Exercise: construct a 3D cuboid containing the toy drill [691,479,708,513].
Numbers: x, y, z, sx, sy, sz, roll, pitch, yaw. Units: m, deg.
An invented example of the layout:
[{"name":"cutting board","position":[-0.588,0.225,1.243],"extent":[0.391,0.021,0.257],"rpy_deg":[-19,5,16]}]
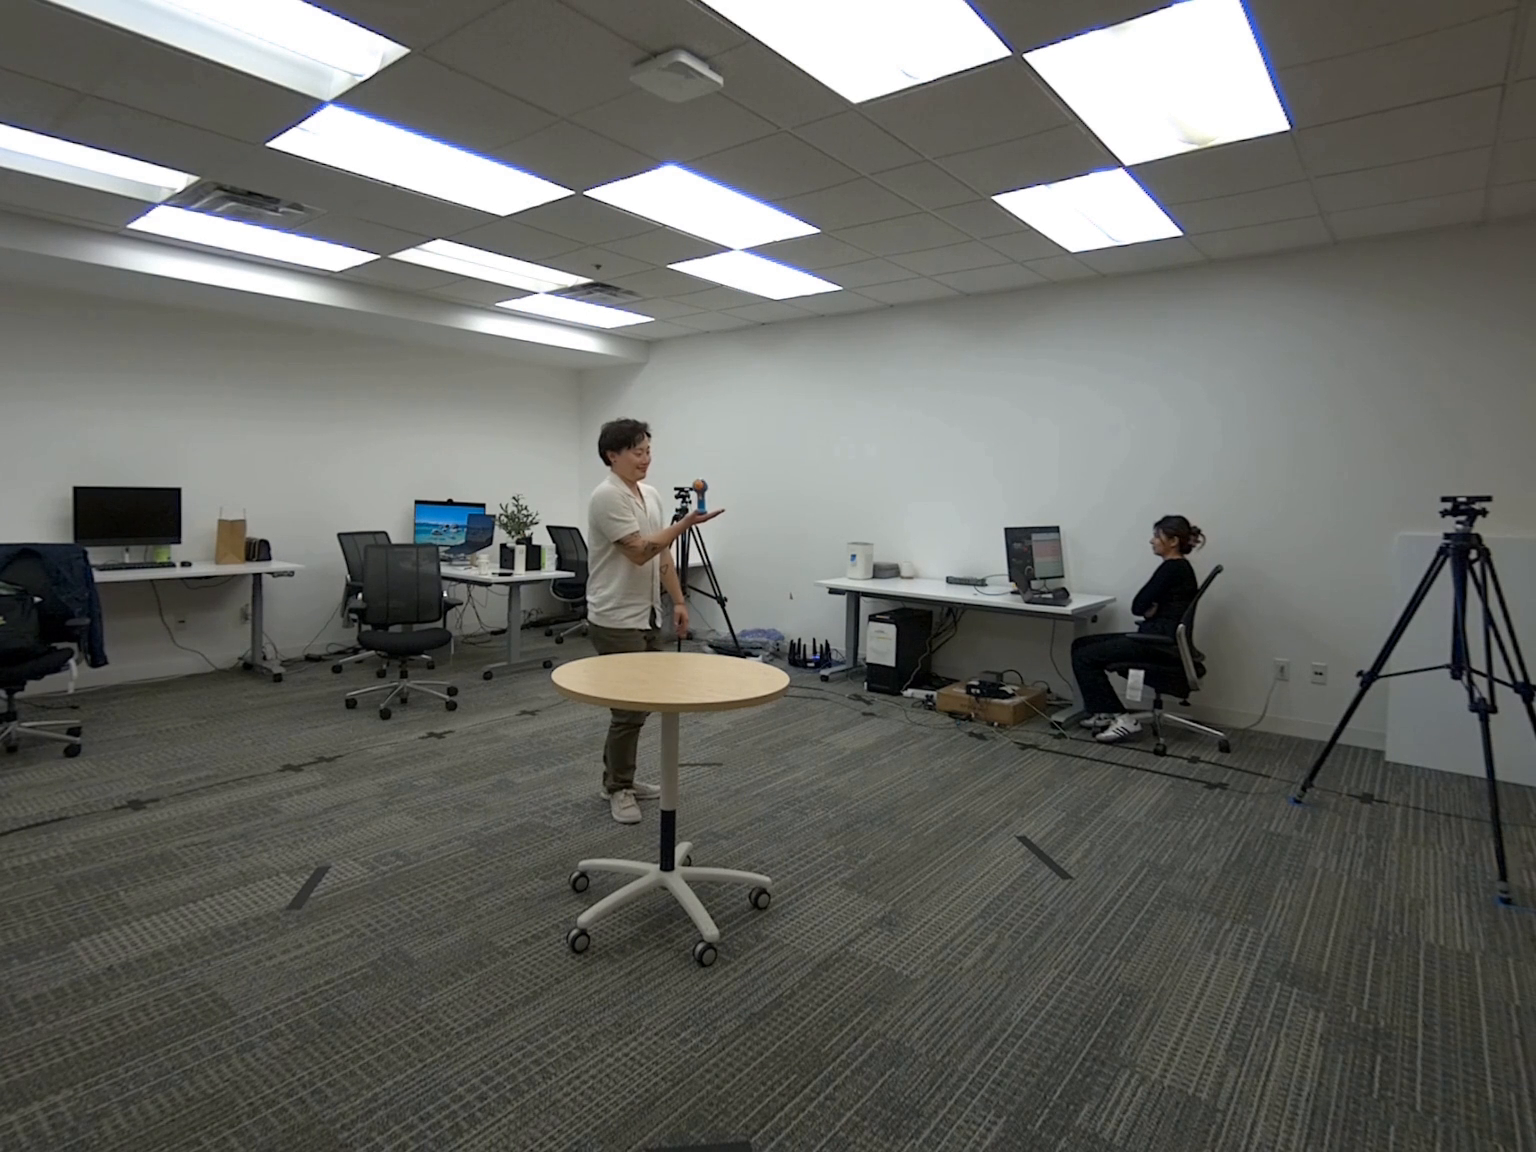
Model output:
[{"name":"toy drill","position":[-0.283,-0.325,3.402],"extent":[0.061,0.147,0.169],"rpy_deg":[-2,-3,-1]}]
